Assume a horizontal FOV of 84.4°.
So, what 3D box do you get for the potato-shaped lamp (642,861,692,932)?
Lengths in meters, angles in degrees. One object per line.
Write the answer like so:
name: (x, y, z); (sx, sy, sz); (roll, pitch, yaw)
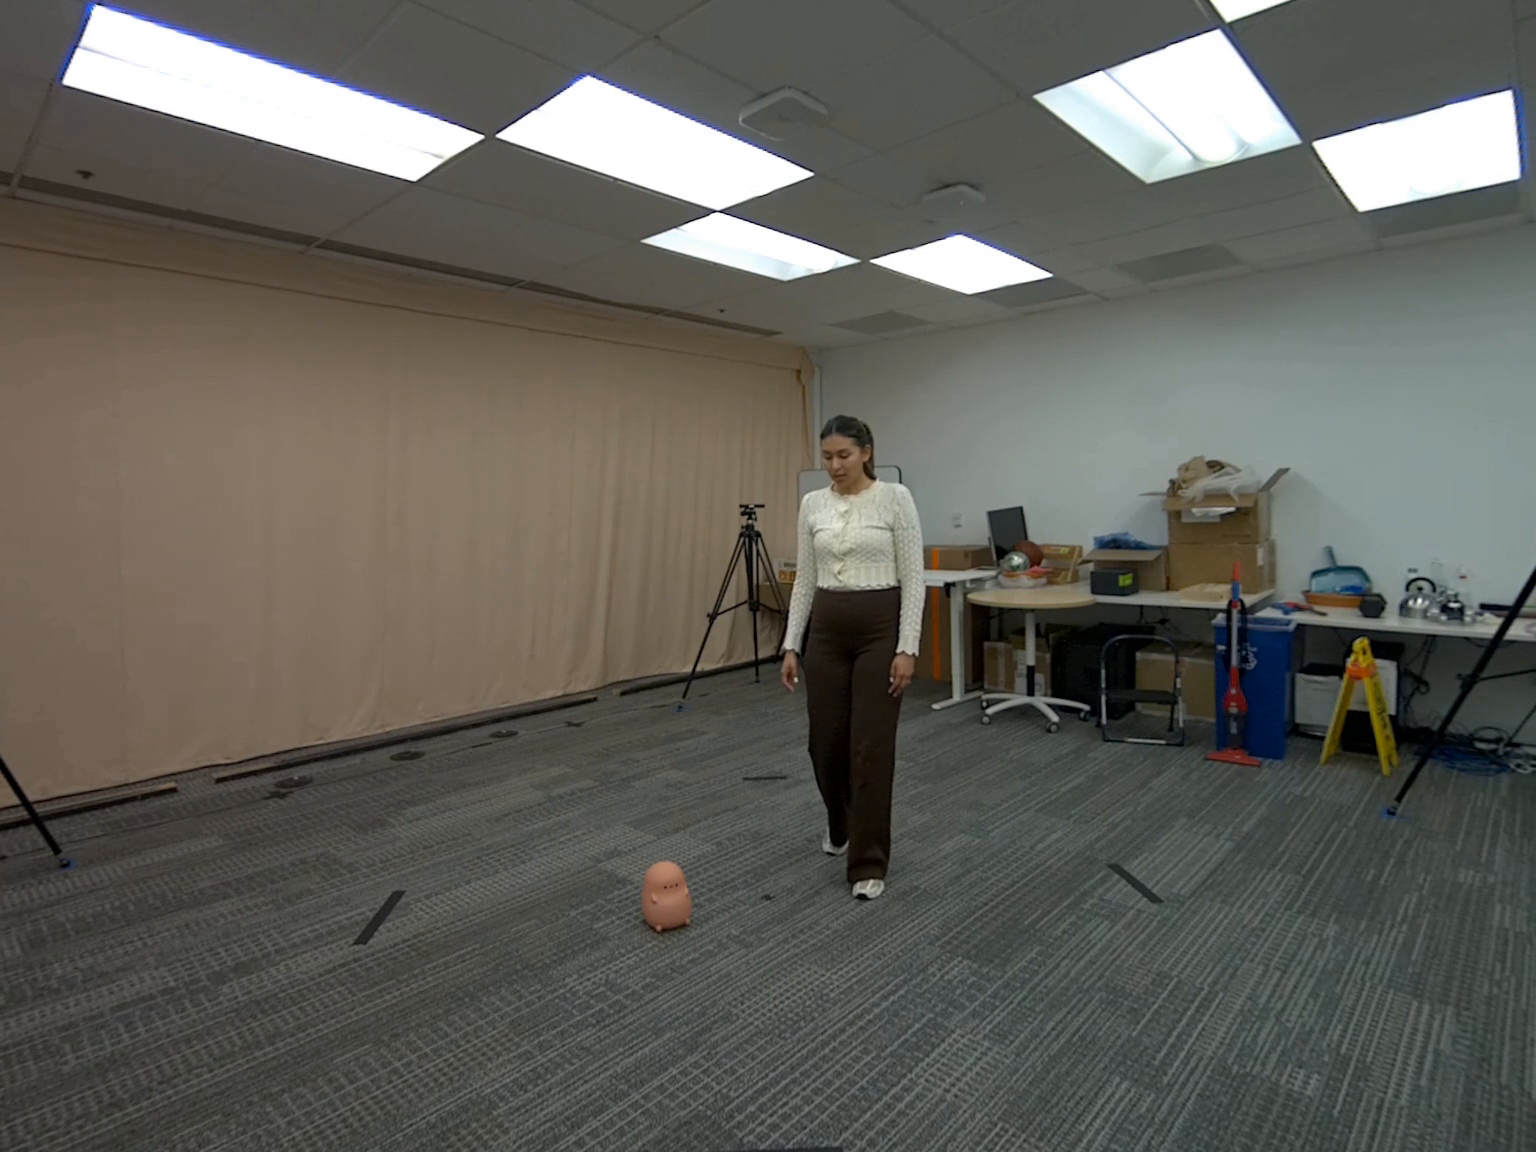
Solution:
potato-shaped lamp: (-0.340, 1.057, 2.817); (0.161, 0.198, 0.175); (-3, 0, -21)
